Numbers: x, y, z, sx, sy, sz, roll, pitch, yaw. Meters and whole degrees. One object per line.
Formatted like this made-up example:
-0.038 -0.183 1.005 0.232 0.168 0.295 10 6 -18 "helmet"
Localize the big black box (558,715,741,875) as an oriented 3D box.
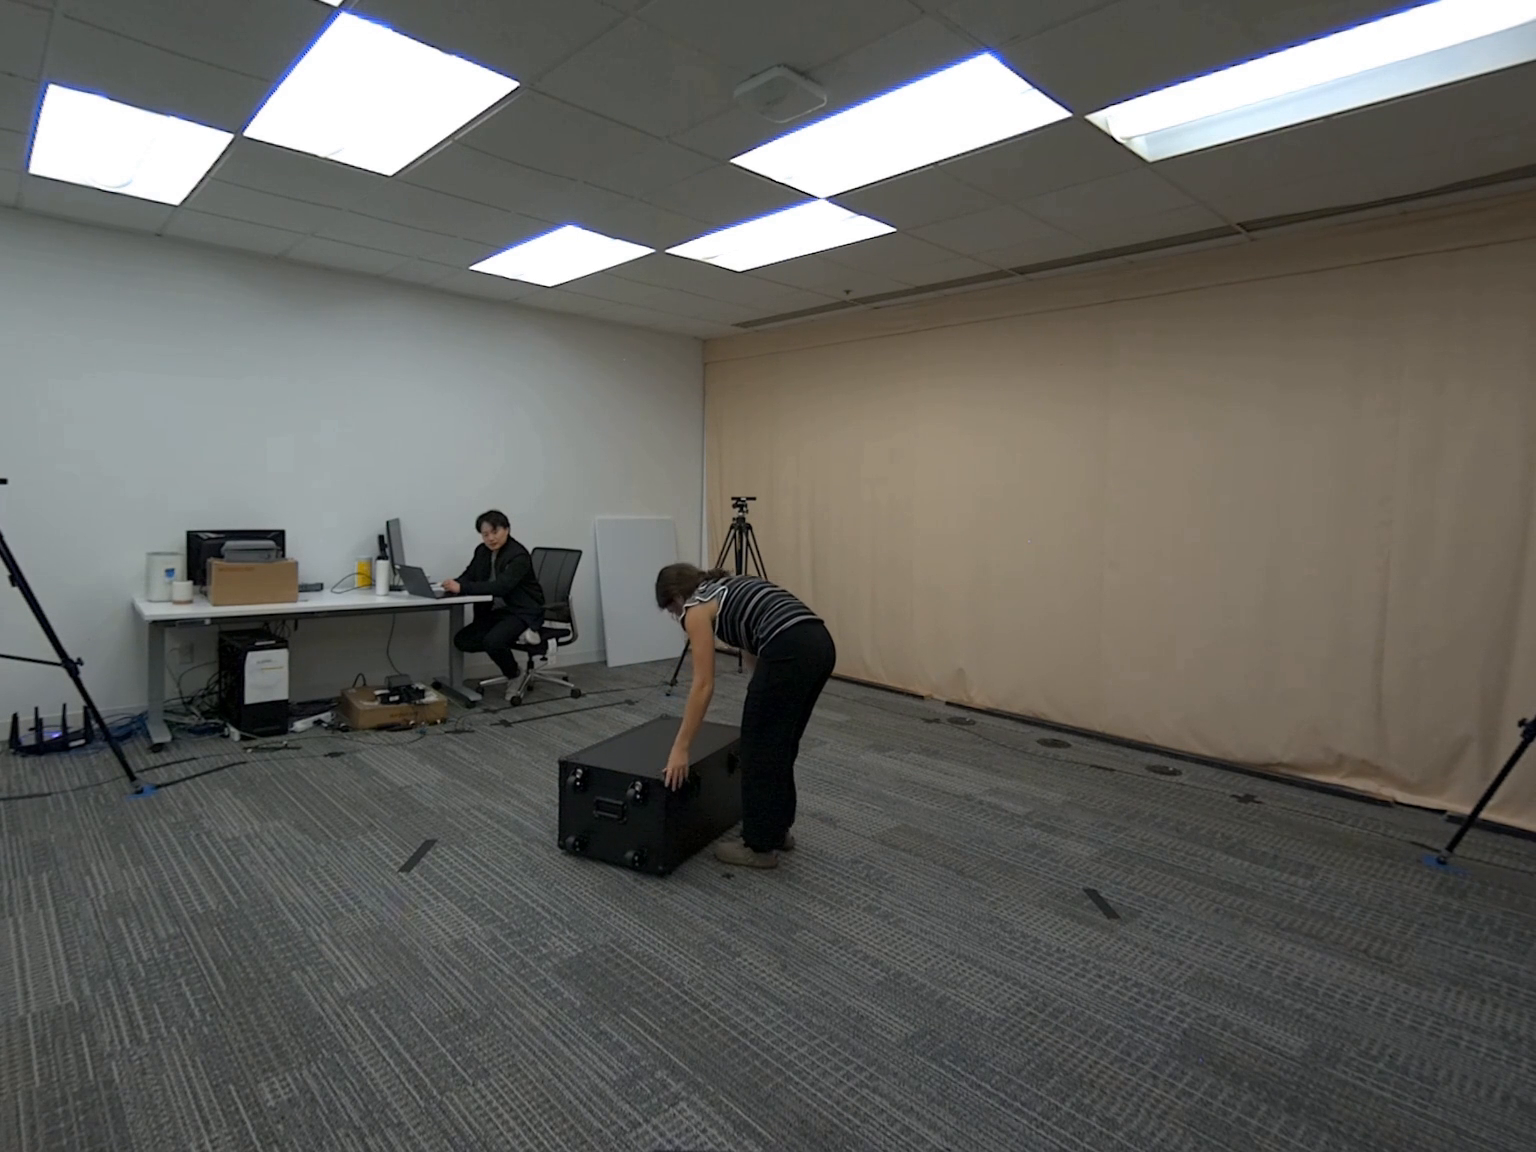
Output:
-0.454 0.875 3.456 0.531 0.395 0.847 5 5 24 "big black box"
